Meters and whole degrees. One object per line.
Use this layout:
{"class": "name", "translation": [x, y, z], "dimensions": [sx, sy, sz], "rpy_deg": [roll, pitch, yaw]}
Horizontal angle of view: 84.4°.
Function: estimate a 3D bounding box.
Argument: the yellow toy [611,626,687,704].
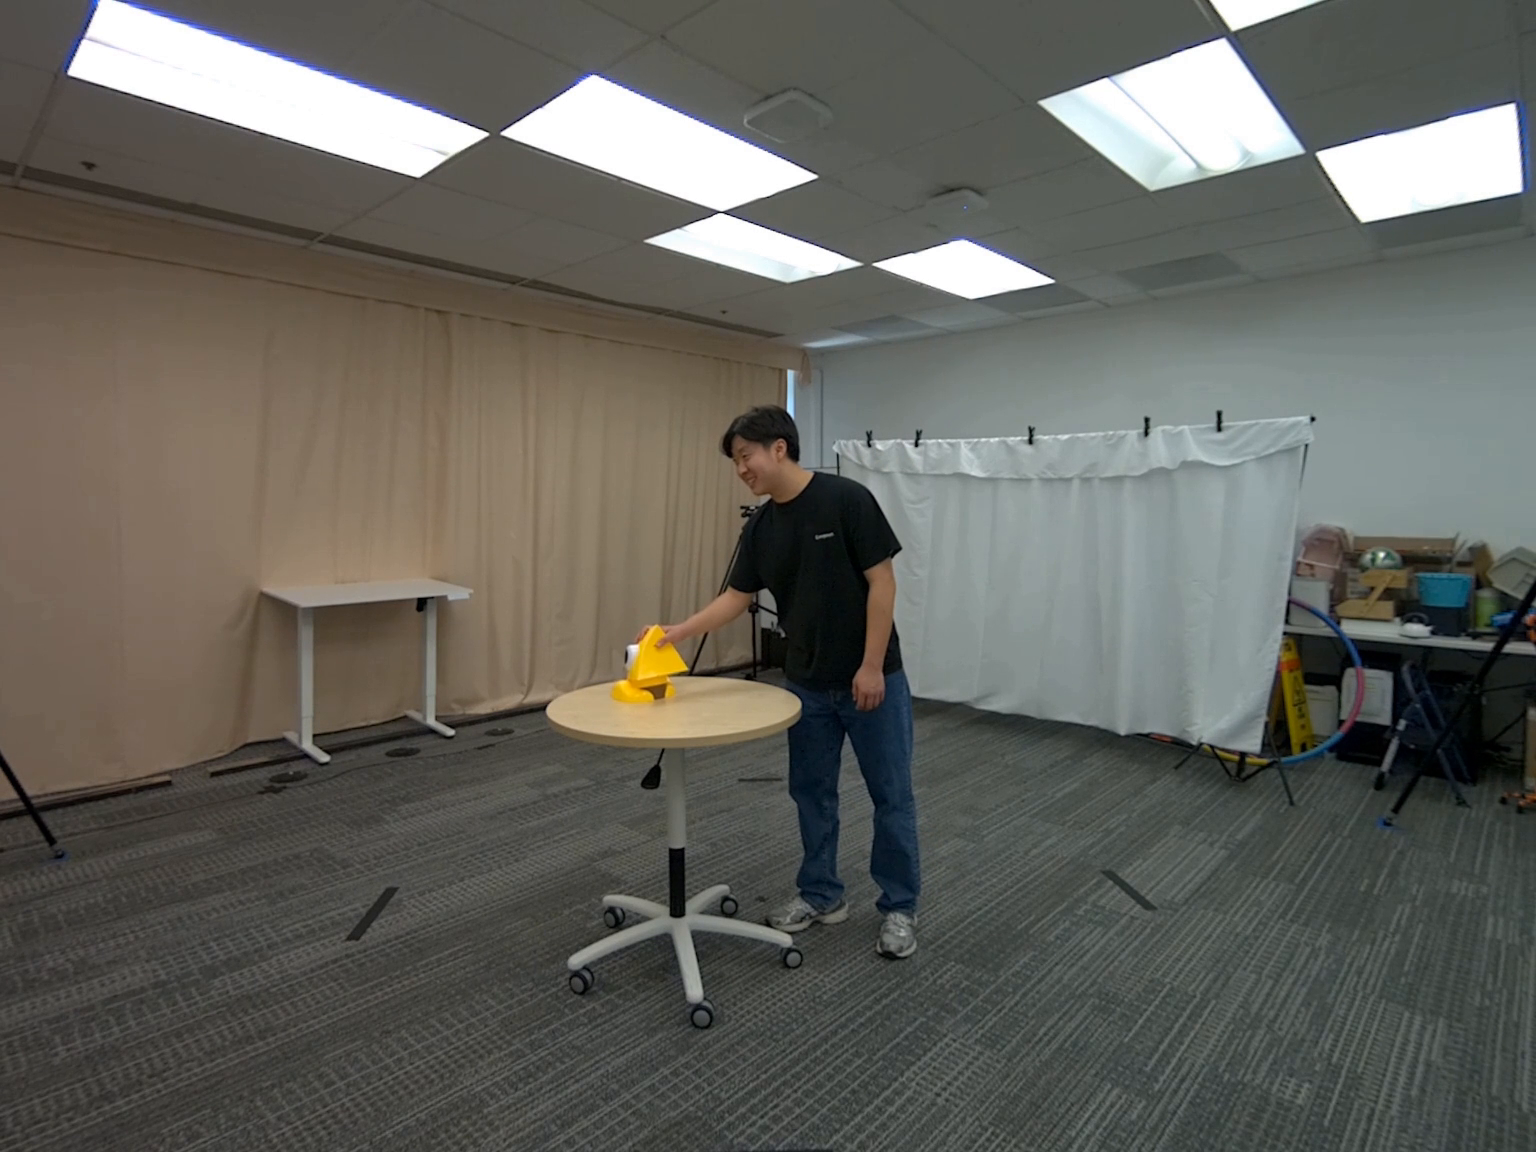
{"class": "yellow toy", "translation": [-0.385, 0.268, 2.650], "dimensions": [0.199, 0.230, 0.198], "rpy_deg": [4, 6, 44]}
